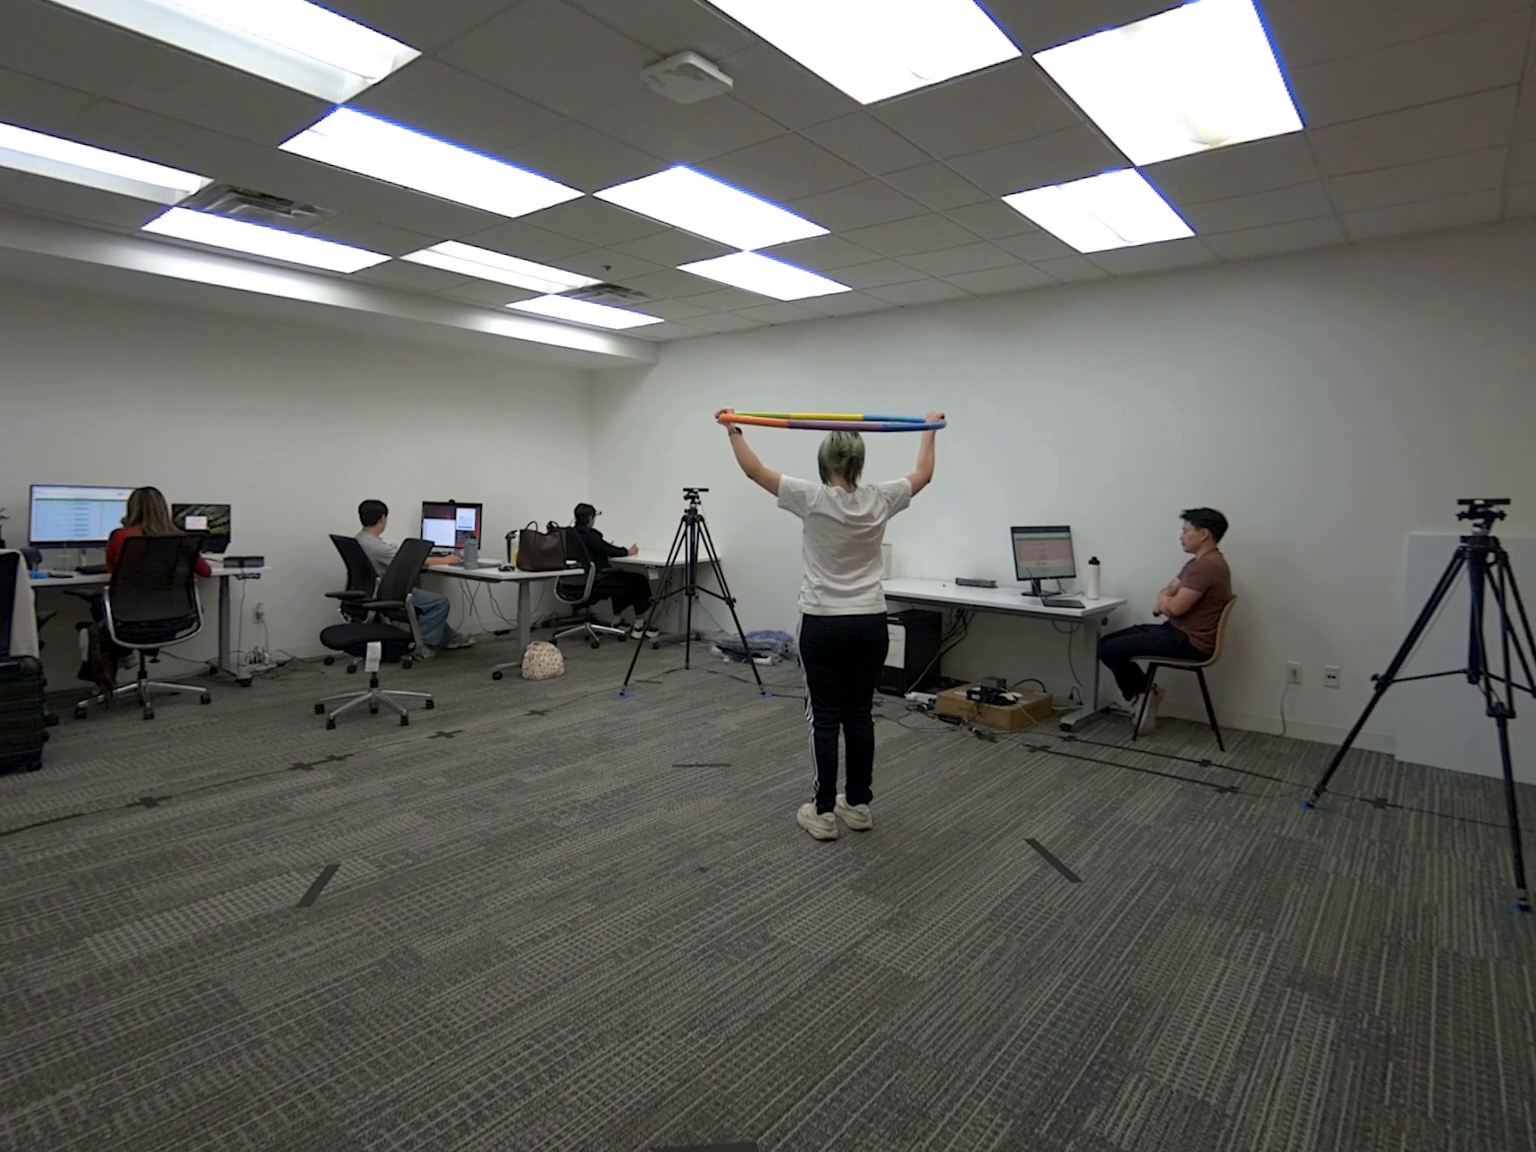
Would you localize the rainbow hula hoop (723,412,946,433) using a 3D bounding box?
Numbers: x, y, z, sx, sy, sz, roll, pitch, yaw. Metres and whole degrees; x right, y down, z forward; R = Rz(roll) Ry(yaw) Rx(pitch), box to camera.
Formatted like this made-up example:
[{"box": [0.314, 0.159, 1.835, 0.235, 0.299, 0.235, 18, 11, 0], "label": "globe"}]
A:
[{"box": [0.274, -0.681, 3.712, 0.984, 0.051, 0.997, 1, 13, -2], "label": "rainbow hula hoop"}]
